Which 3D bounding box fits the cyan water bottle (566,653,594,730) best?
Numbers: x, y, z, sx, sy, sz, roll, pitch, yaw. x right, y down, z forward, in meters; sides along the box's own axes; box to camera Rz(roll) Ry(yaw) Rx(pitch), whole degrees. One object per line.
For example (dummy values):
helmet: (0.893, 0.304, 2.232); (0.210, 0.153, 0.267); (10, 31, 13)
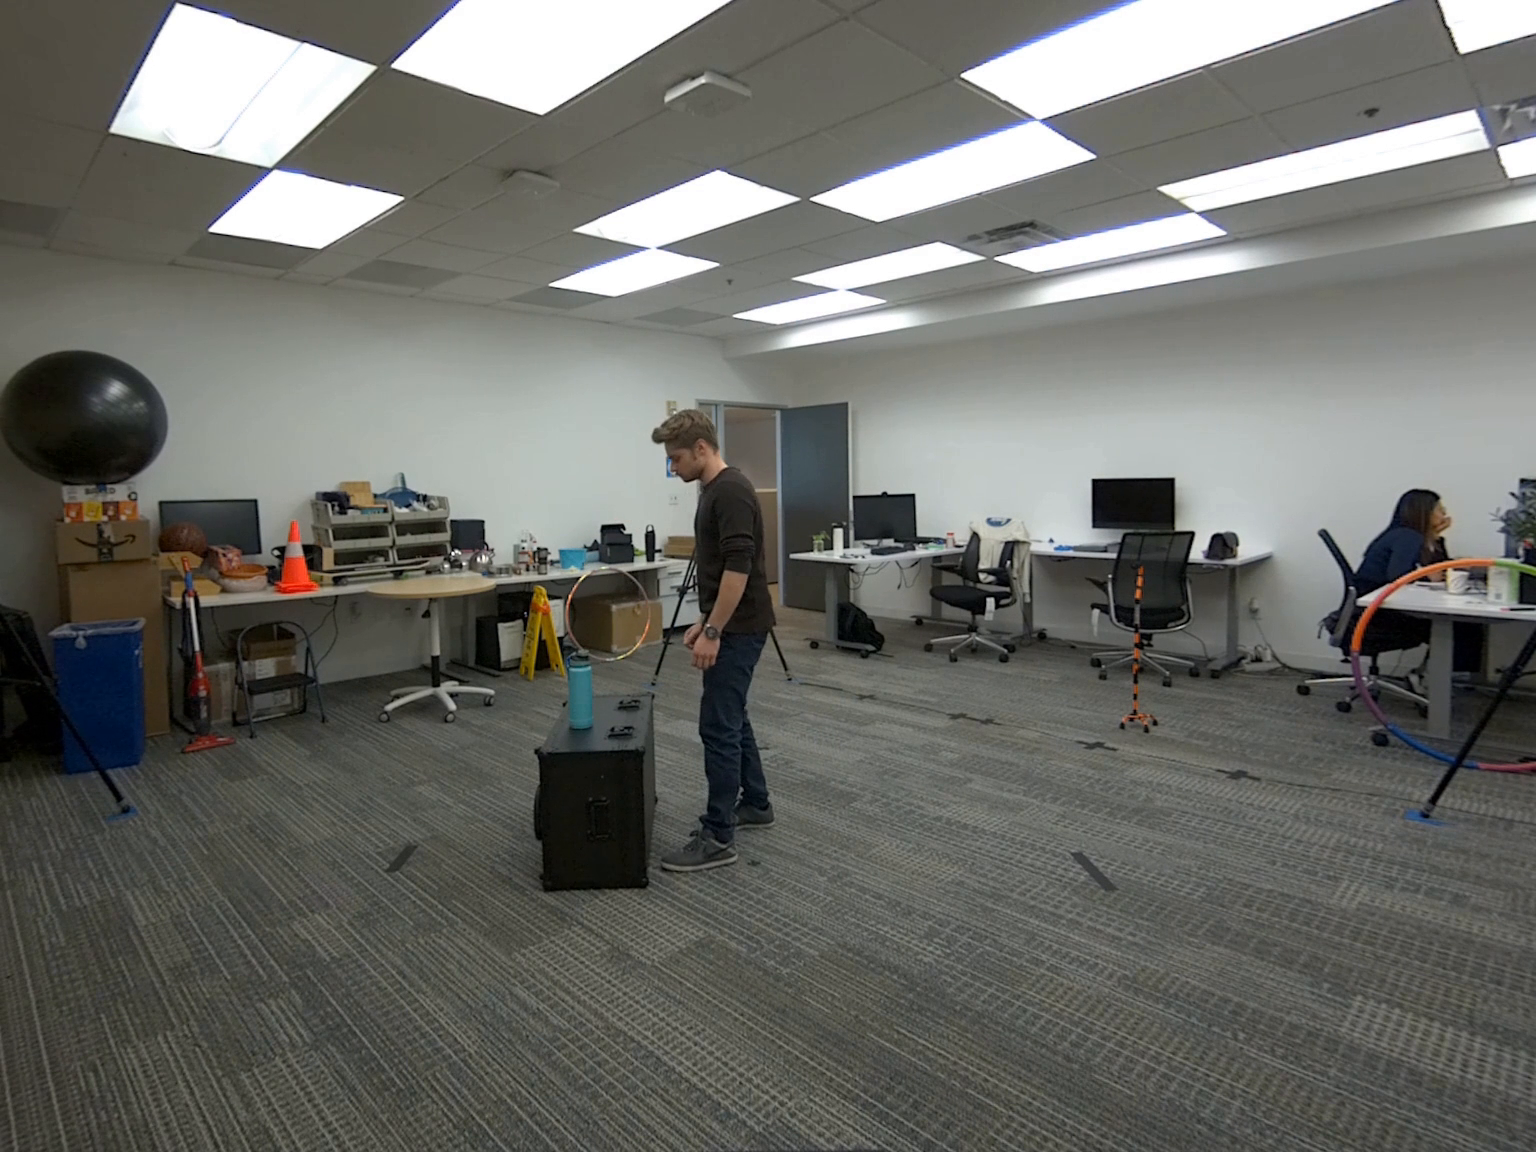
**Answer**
cyan water bottle: (-0.703, 0.419, 3.207); (0.092, 0.282, 0.093); (-2, 4, -1)
